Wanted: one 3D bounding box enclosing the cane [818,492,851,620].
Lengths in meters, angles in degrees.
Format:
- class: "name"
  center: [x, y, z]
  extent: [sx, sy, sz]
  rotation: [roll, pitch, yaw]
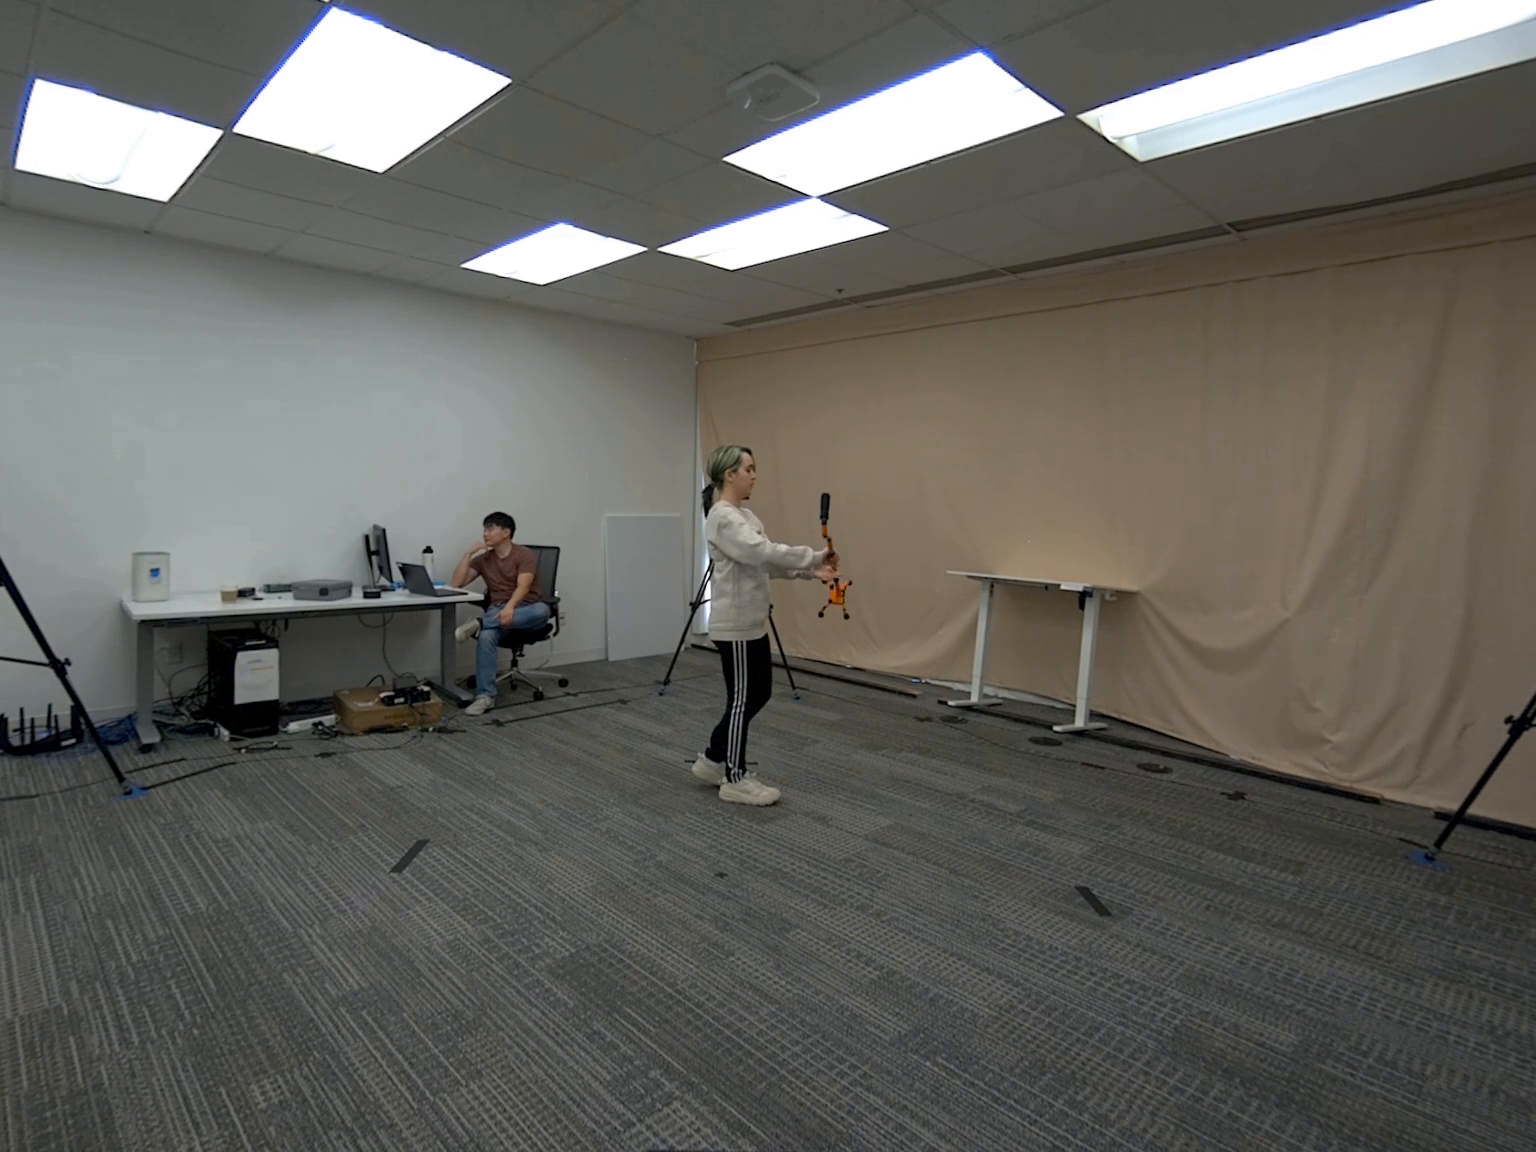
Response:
- class: "cane"
  center: [0.265, -0.066, 3.717]
  extent: [0.153, 0.209, 0.887]
  rotation: [2, -24, 8]
